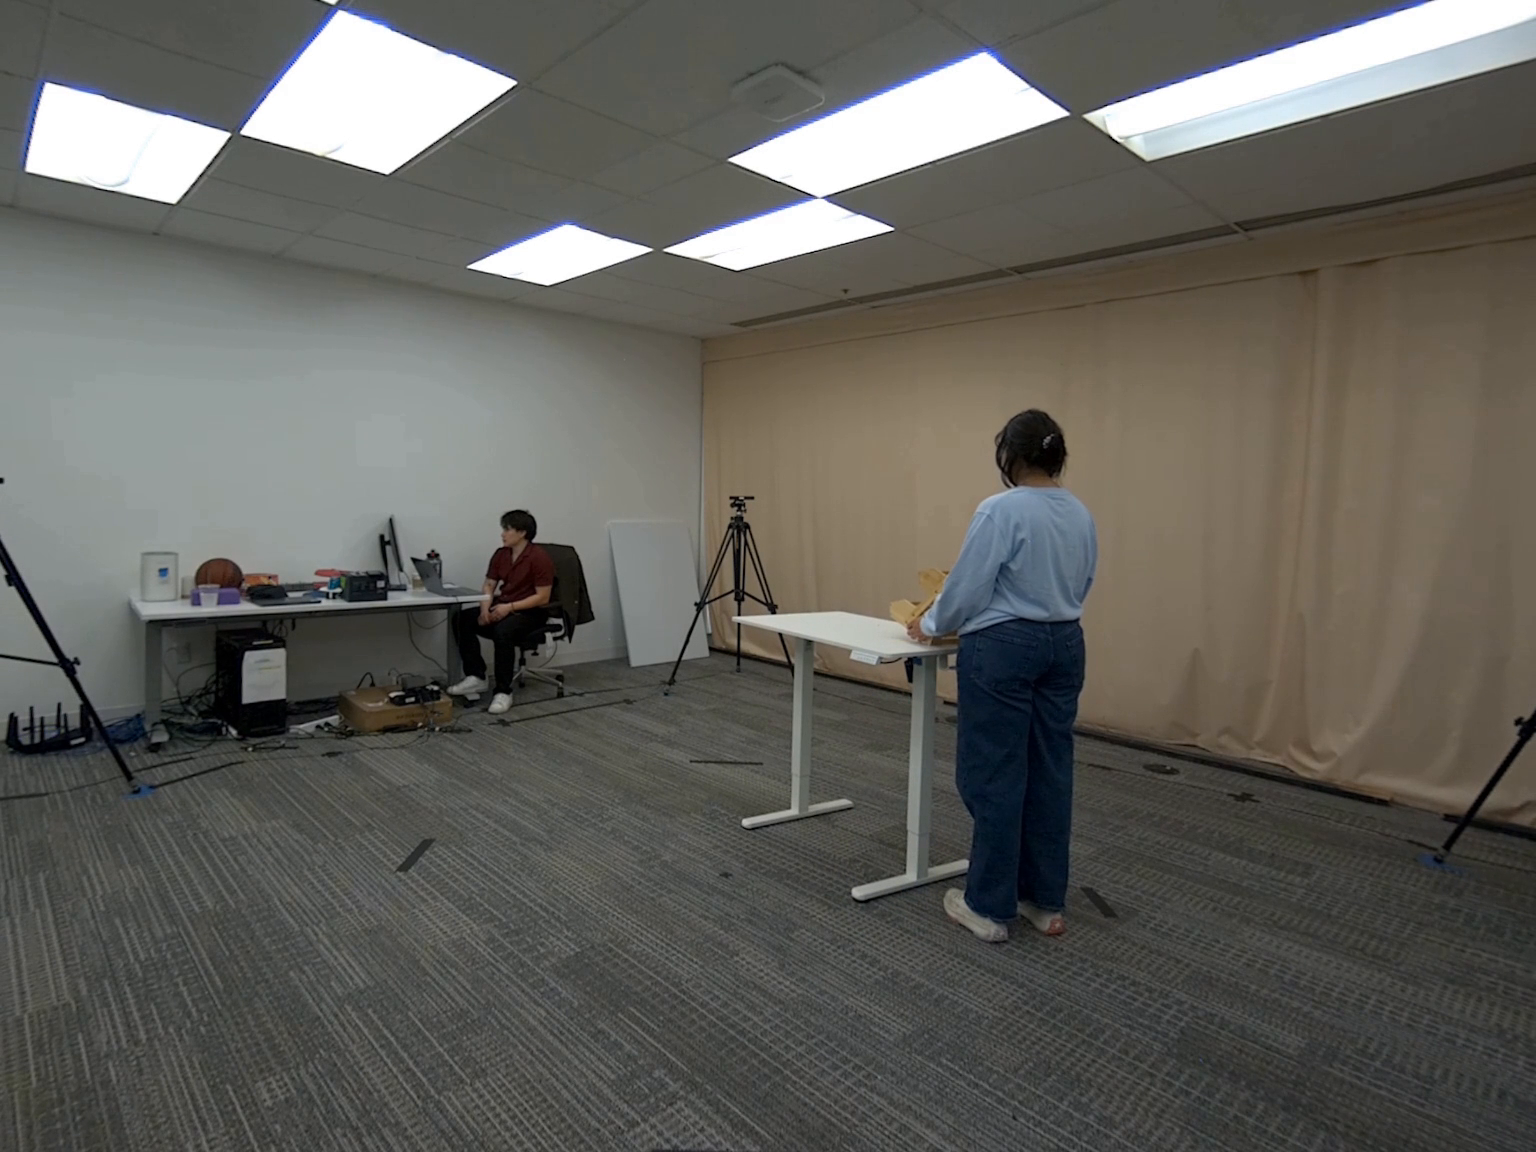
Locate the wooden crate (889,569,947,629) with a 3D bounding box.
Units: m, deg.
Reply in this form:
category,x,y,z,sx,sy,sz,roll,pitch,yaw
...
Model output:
category,x,y,z,sx,sy,sz,roll,pitch,yaw
wooden crate,0.690,0.087,3.077,0.318,0.270,0.311,0,24,-30
